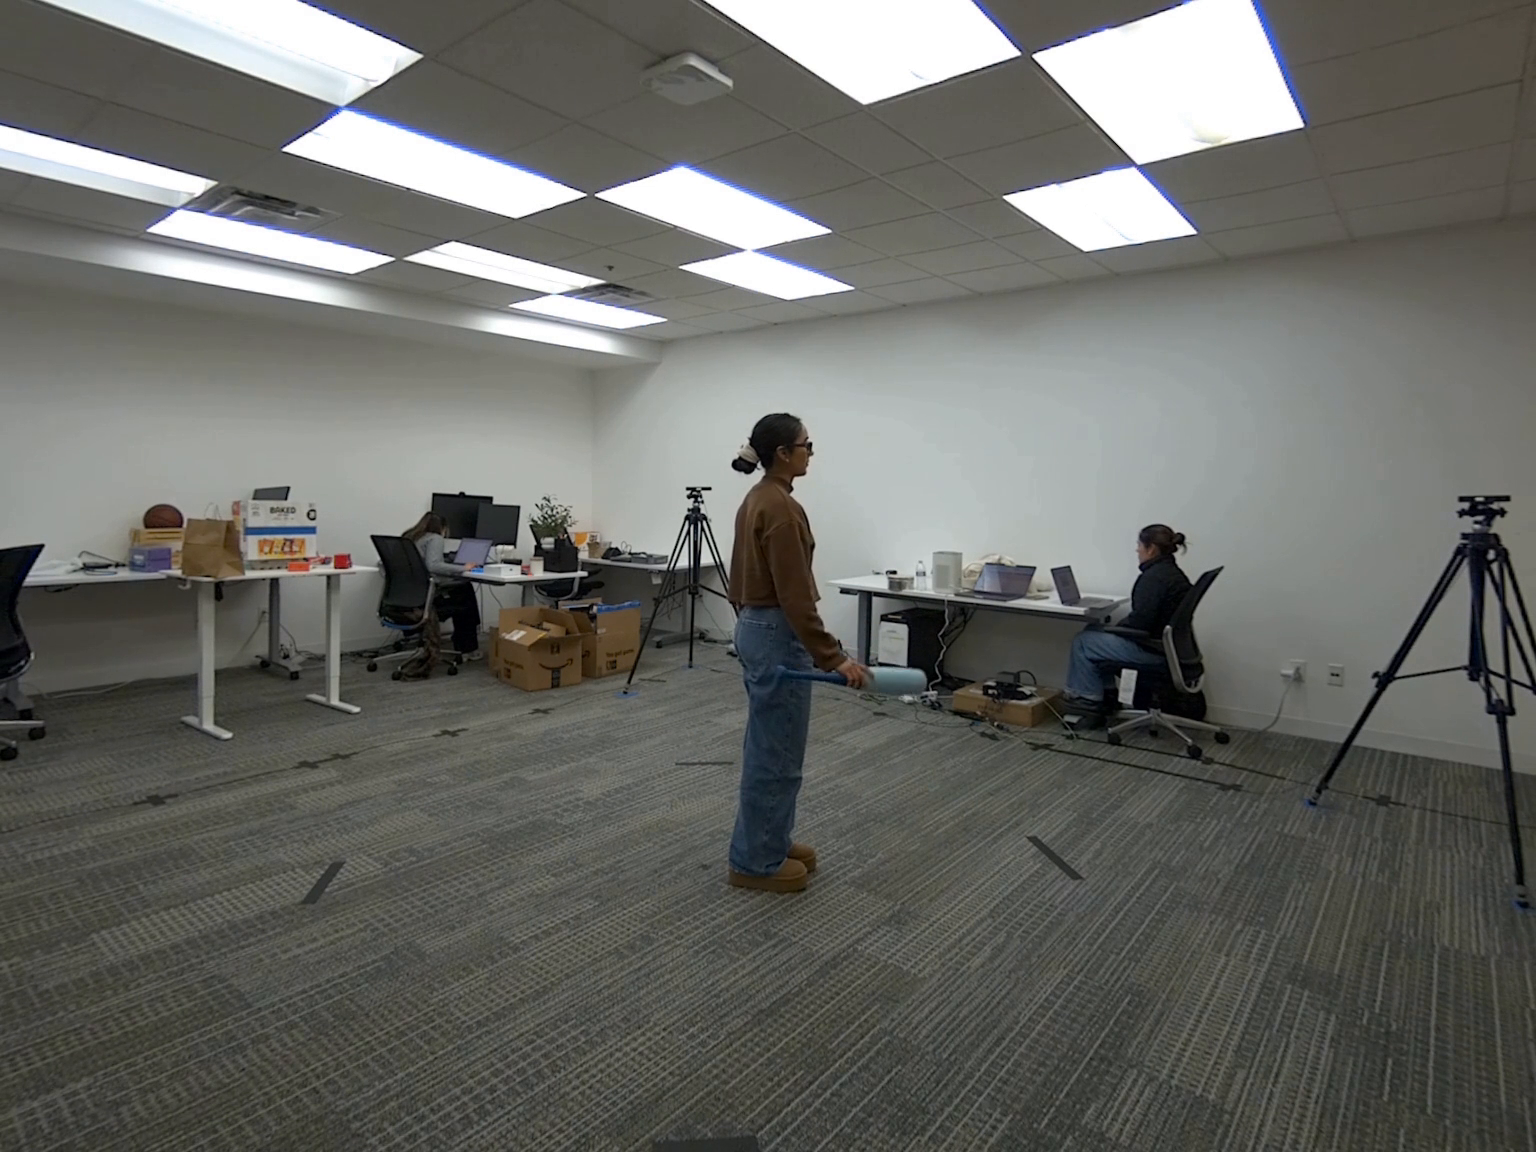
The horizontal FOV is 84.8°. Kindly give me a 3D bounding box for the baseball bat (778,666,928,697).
[{"bbox_3d":[0.251,0.317,2.754,0.531,0.089,0.091,6,2,-20],"label":"baseball bat"}]
